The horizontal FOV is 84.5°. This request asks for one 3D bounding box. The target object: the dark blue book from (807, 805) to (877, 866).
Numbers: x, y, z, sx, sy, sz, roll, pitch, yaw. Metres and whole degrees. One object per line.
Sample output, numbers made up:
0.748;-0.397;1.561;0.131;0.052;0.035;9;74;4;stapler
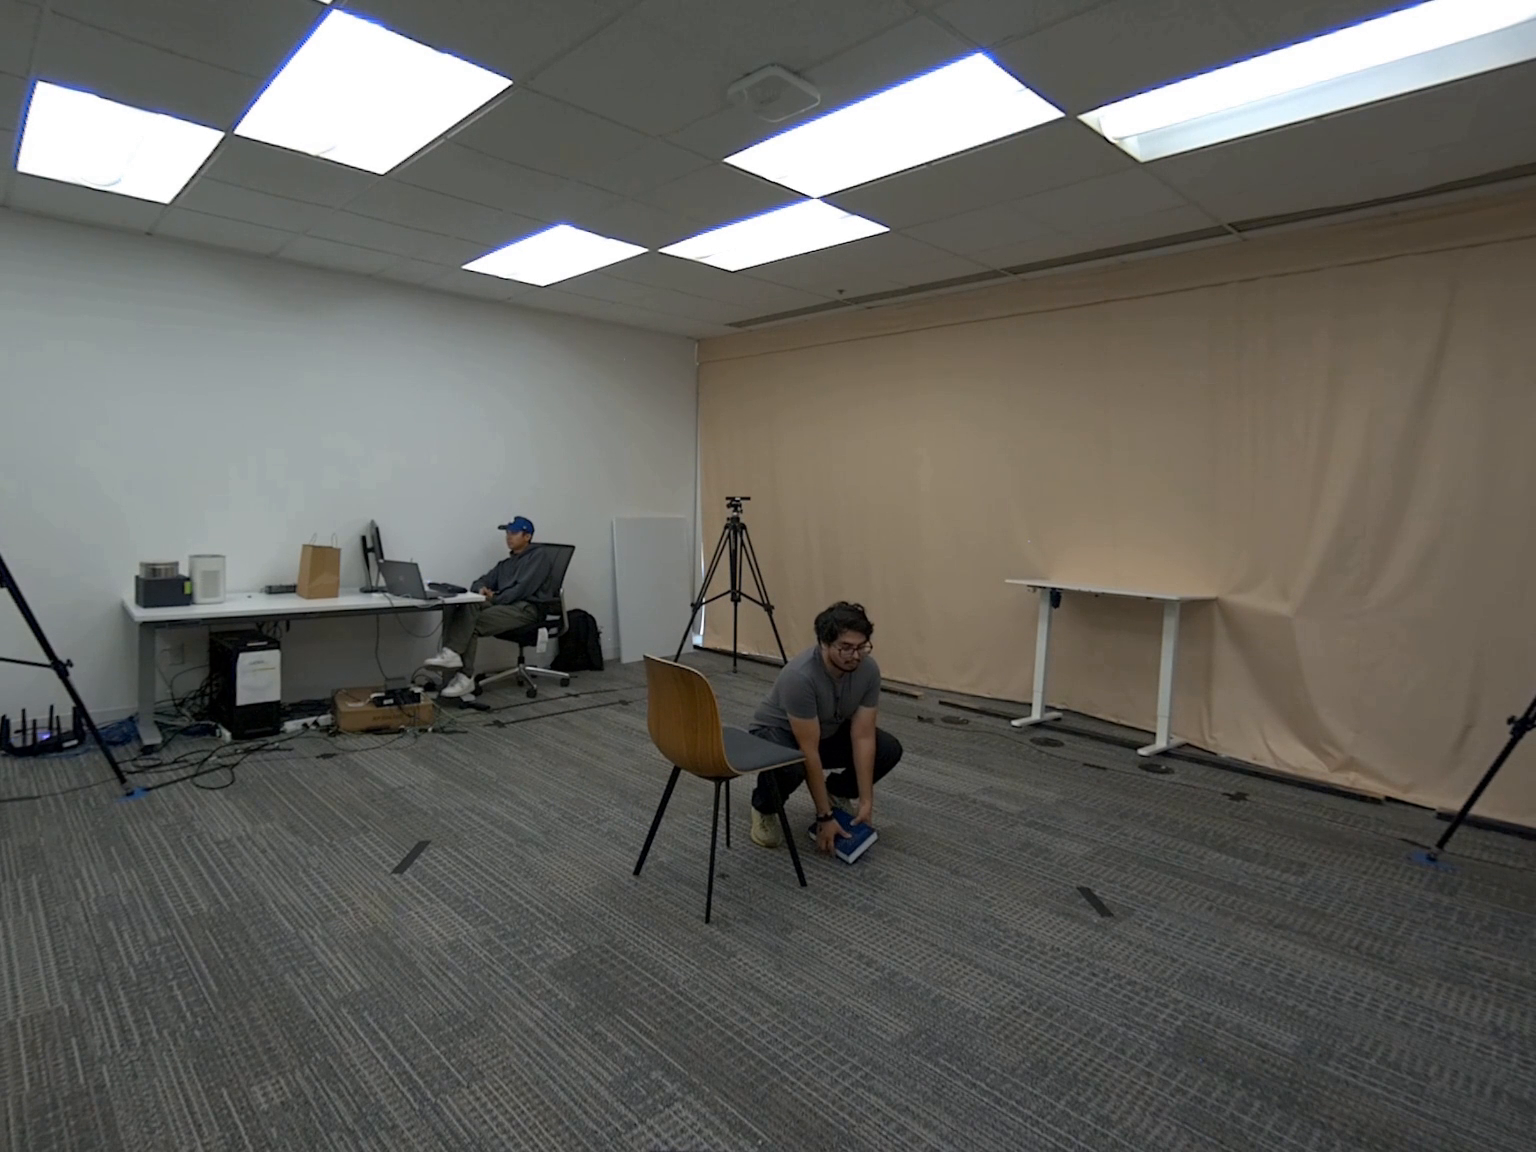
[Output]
0.284;1.029;3.324;0.162;0.044;0.251;-33;26;-26;dark blue book
